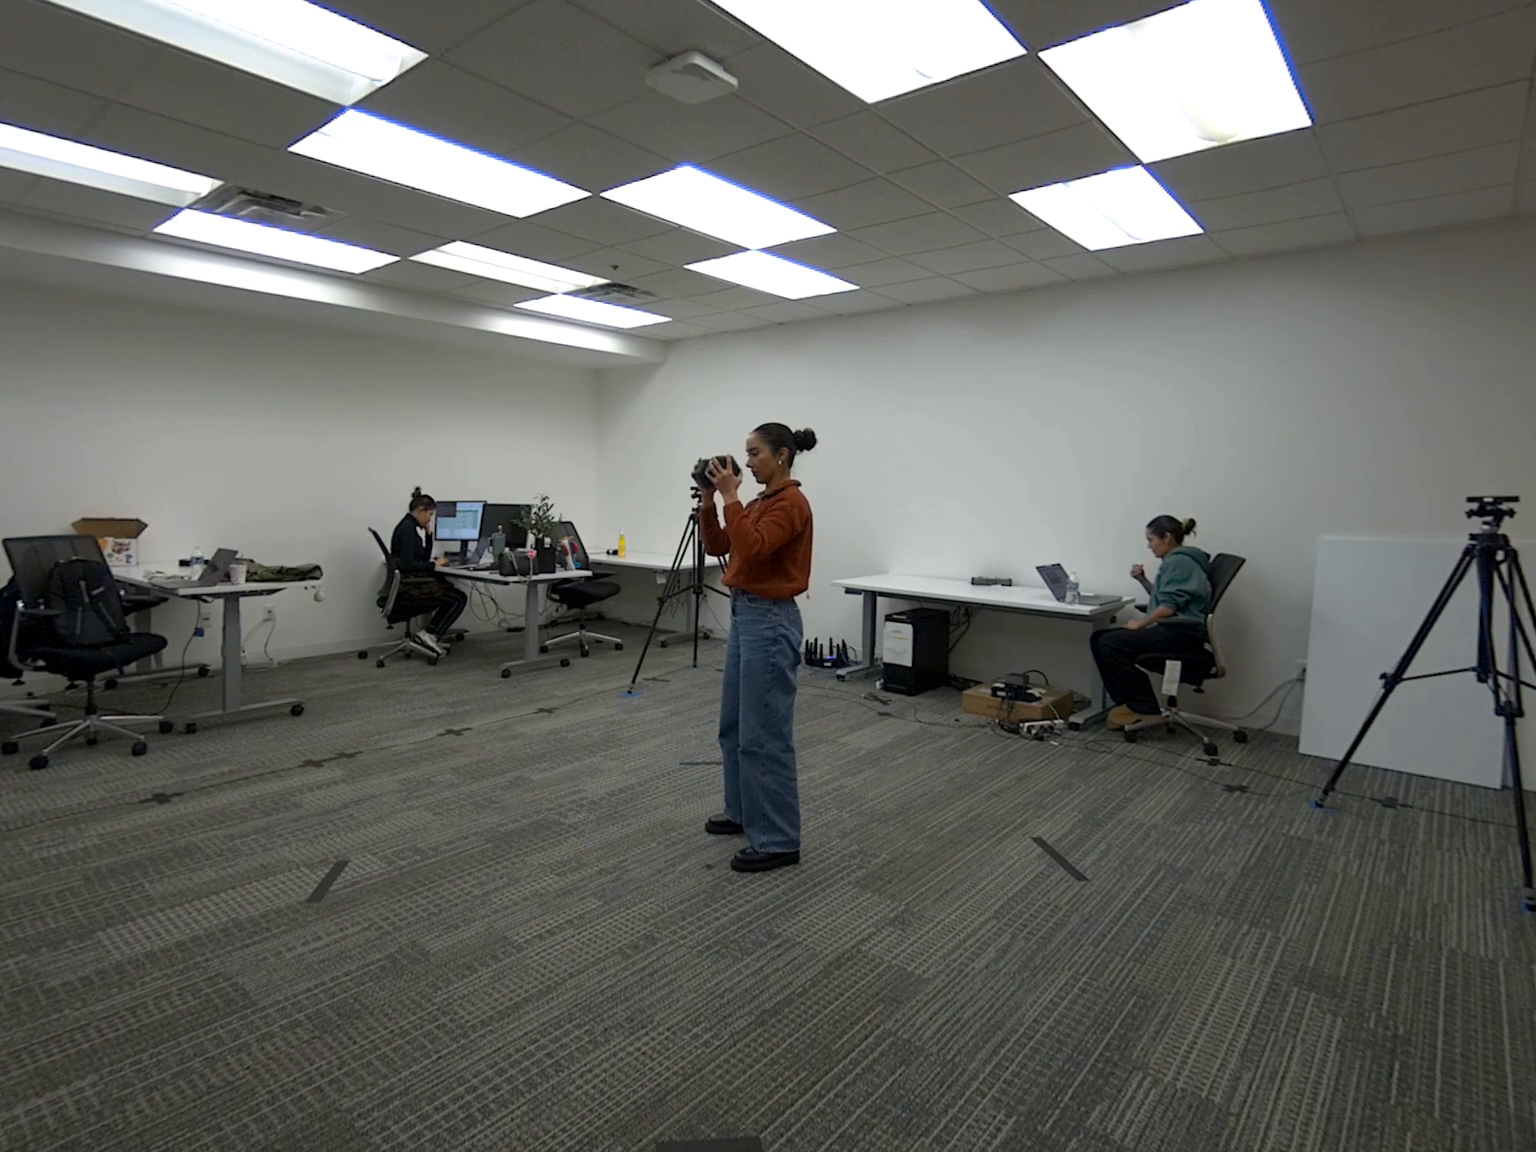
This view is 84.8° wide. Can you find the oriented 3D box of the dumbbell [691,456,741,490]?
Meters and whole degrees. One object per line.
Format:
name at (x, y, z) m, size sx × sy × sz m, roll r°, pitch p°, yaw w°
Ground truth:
dumbbell at (-0.195, -0.404, 3.227) m, size 0.106 × 0.123 × 0.299 m, roll 32°, pitch -4°, yaw -16°
